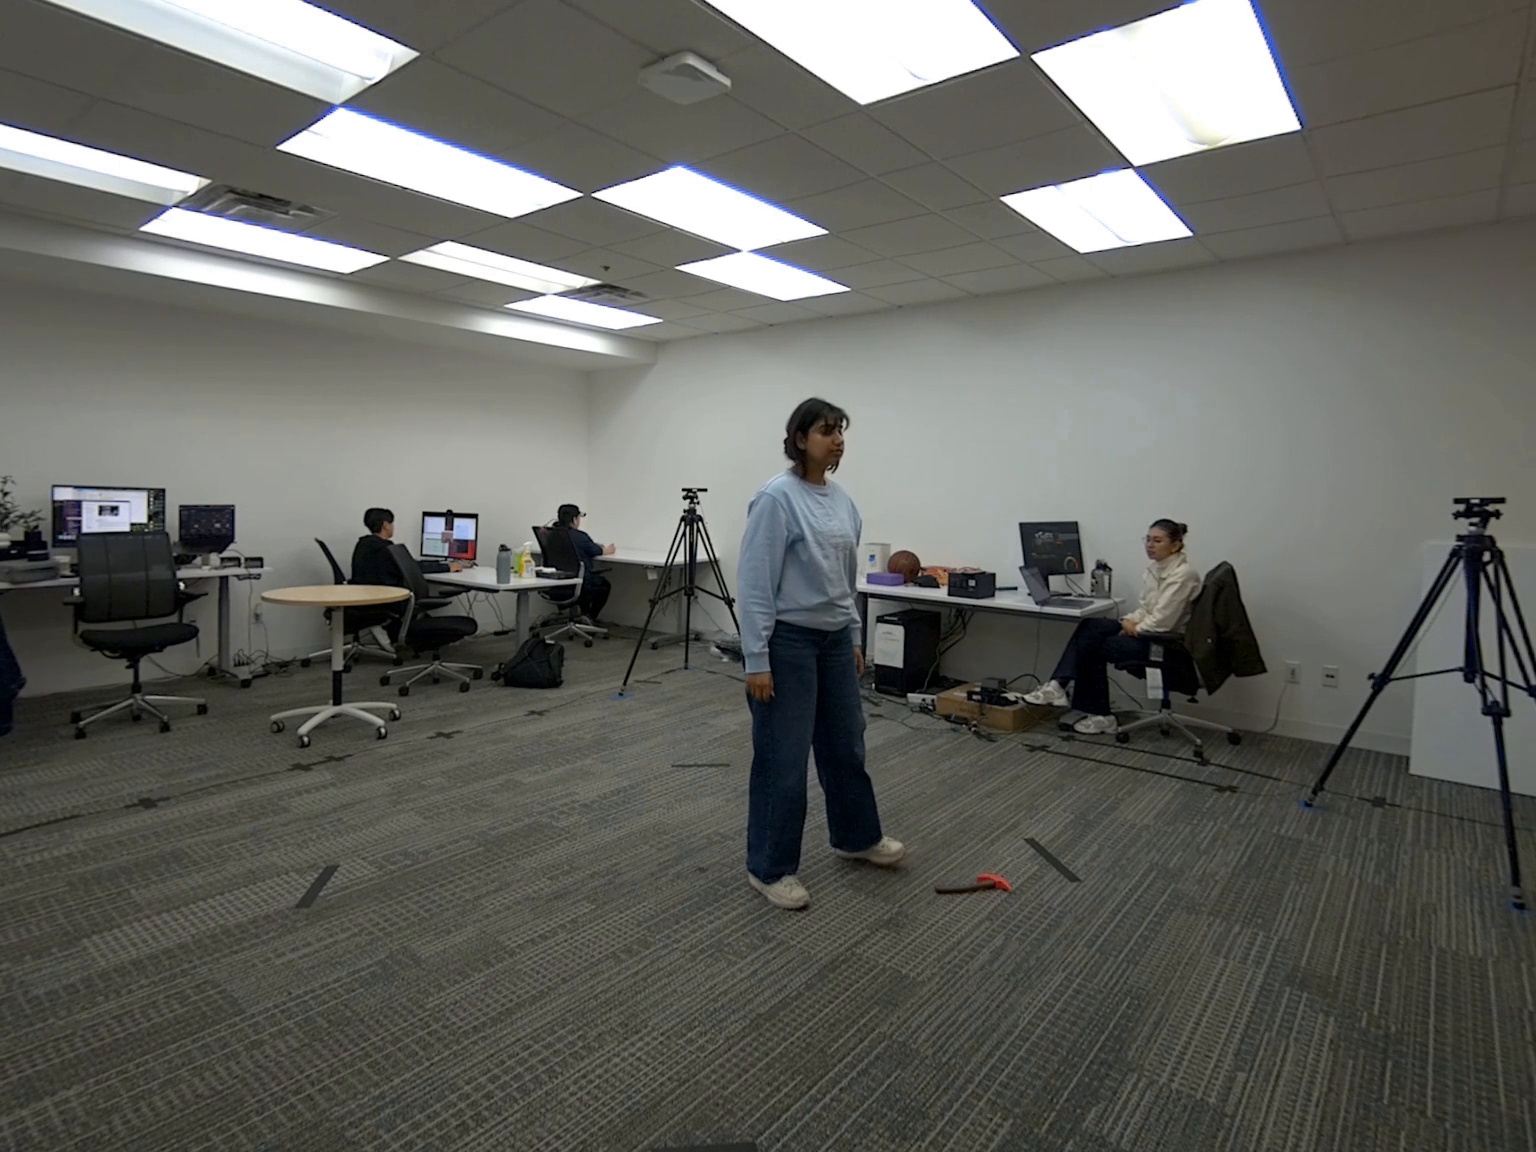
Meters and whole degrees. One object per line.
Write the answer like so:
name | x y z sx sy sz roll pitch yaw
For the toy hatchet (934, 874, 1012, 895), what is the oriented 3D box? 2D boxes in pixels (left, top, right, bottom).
toy hatchet | 0.710 1.090 3.027 0.269 0.029 0.132 -1 6 -3
